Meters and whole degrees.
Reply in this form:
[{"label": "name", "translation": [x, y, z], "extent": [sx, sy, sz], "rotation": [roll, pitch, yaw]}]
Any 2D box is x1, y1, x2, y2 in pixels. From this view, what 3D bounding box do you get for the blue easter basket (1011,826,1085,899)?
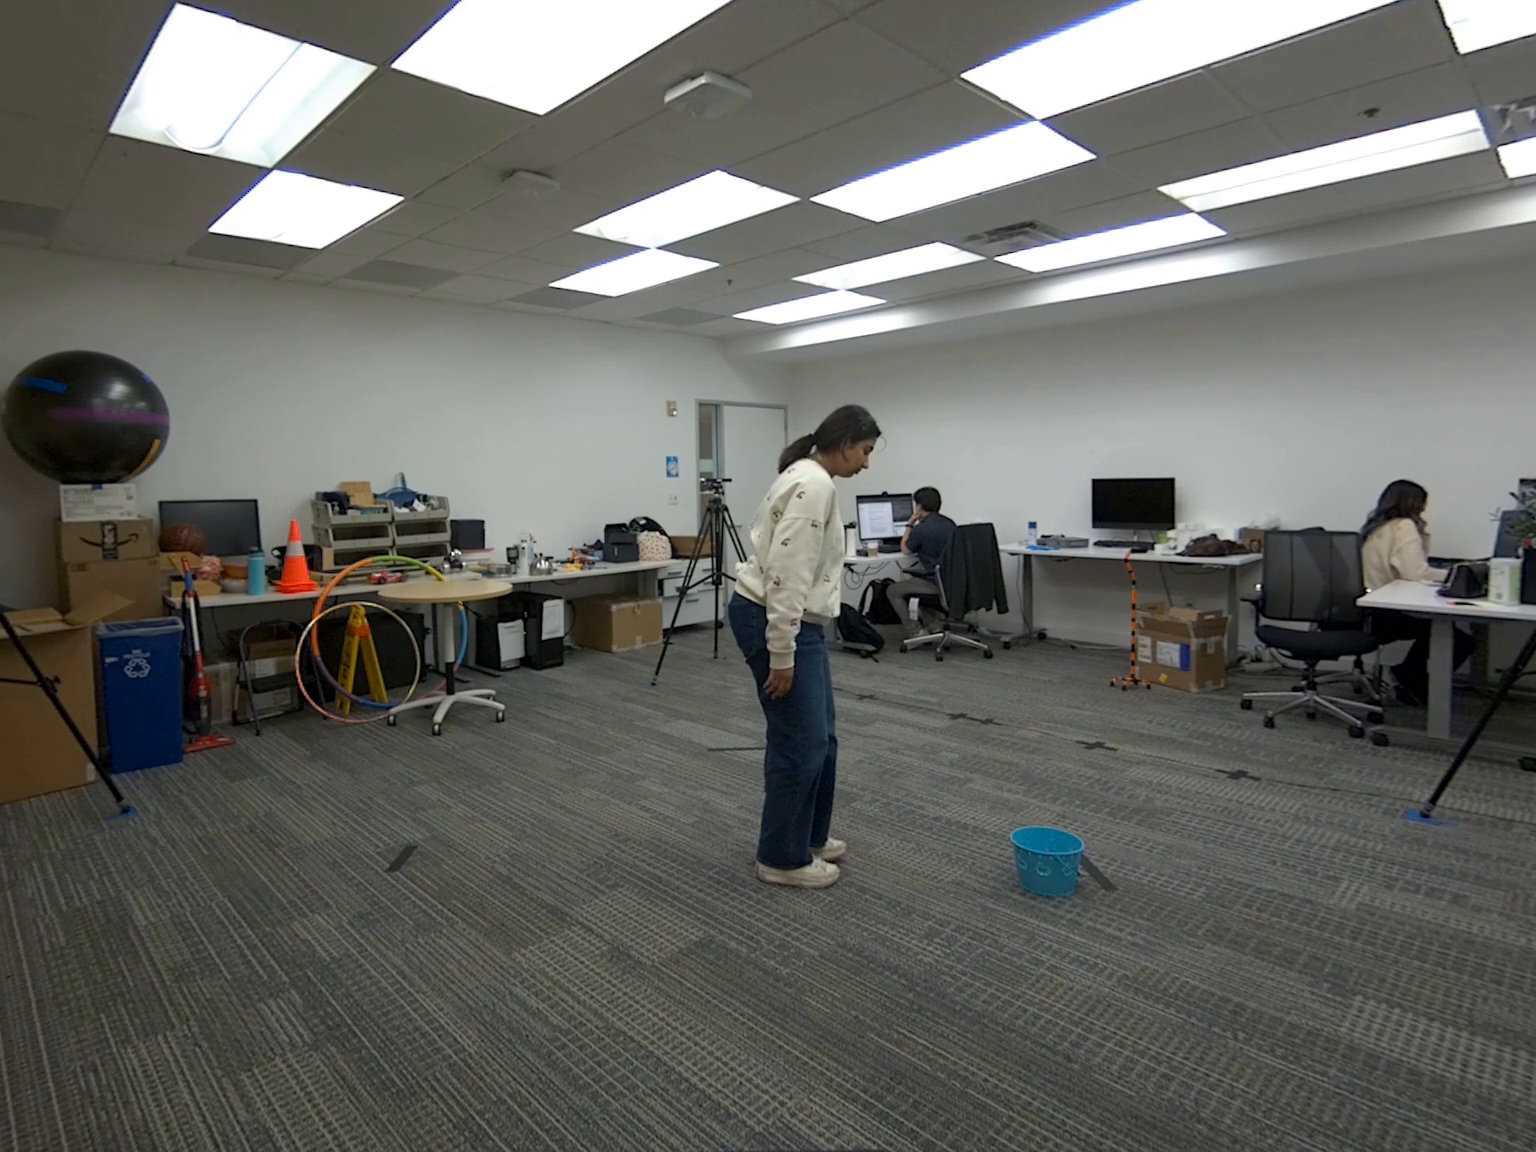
[{"label": "blue easter basket", "translation": [0.949, 0.966, 2.900], "extent": [0.243, 0.155, 0.245], "rotation": [-1, 5, -2]}]
